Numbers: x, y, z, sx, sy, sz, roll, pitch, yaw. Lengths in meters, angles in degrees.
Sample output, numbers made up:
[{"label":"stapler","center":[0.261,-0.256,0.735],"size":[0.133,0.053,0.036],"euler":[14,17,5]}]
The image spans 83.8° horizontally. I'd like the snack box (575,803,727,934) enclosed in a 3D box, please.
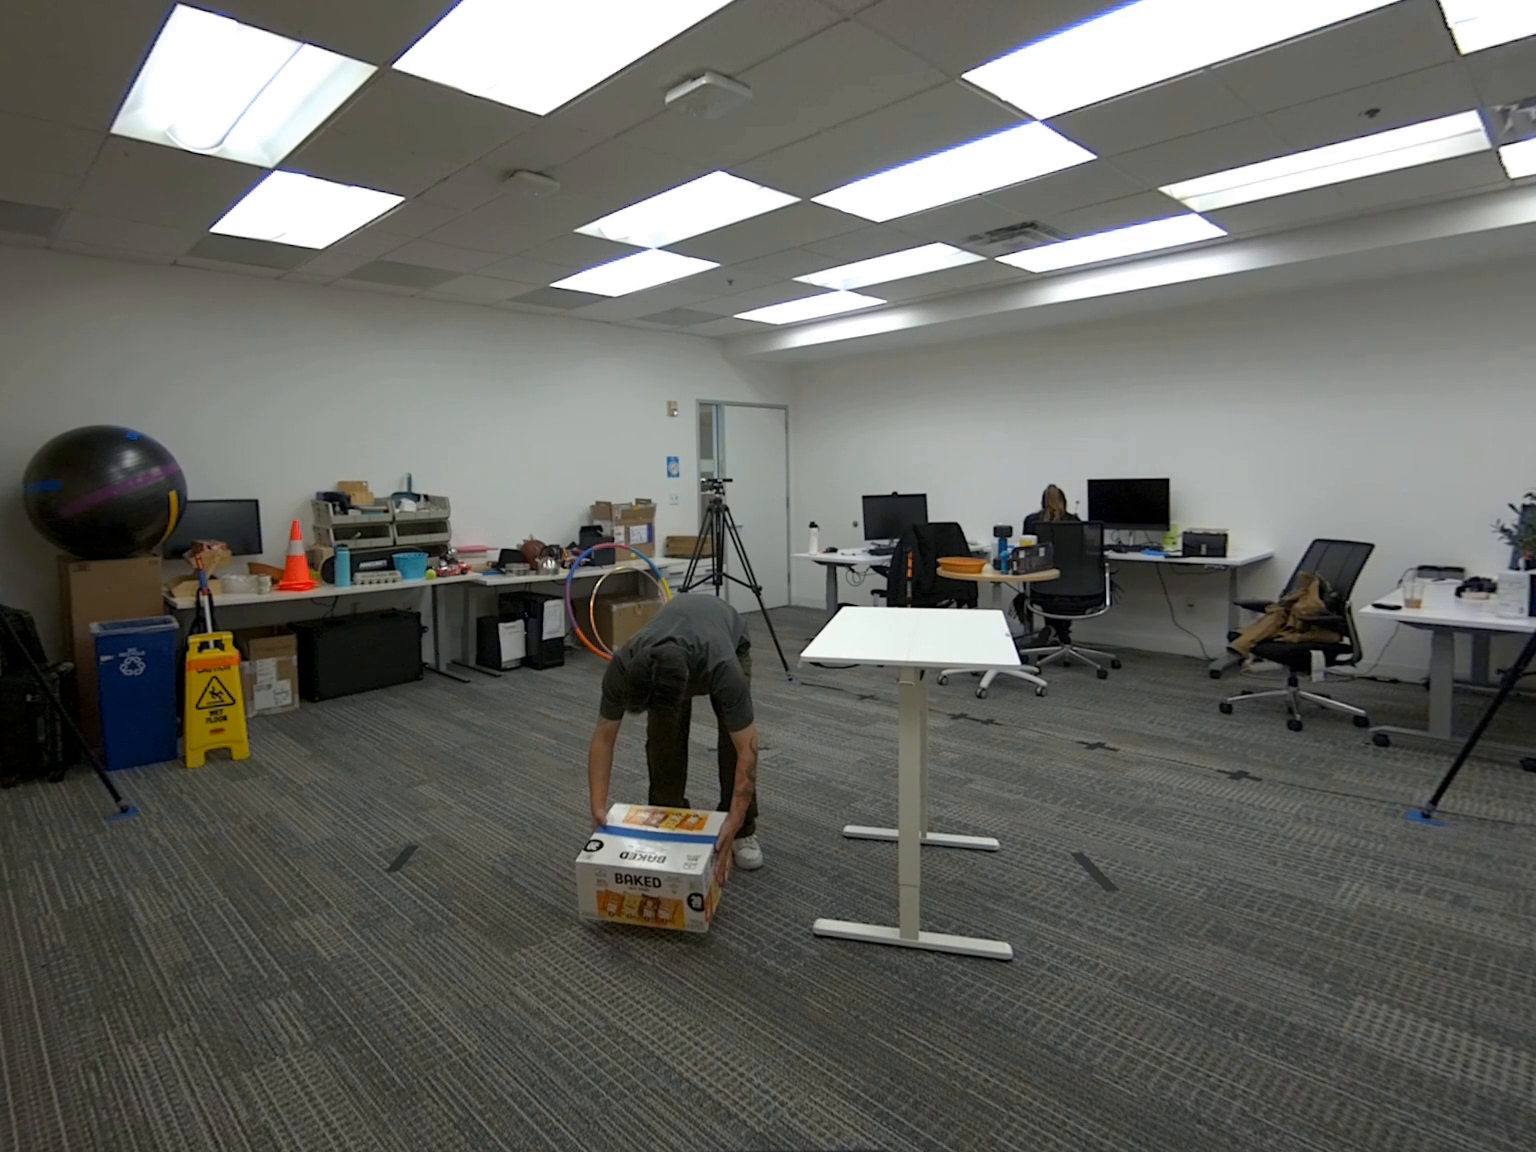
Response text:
[{"label":"snack box","center":[-0.358,0.916,2.721],"size":[0.410,0.203,0.341],"euler":[1,15,12]}]
